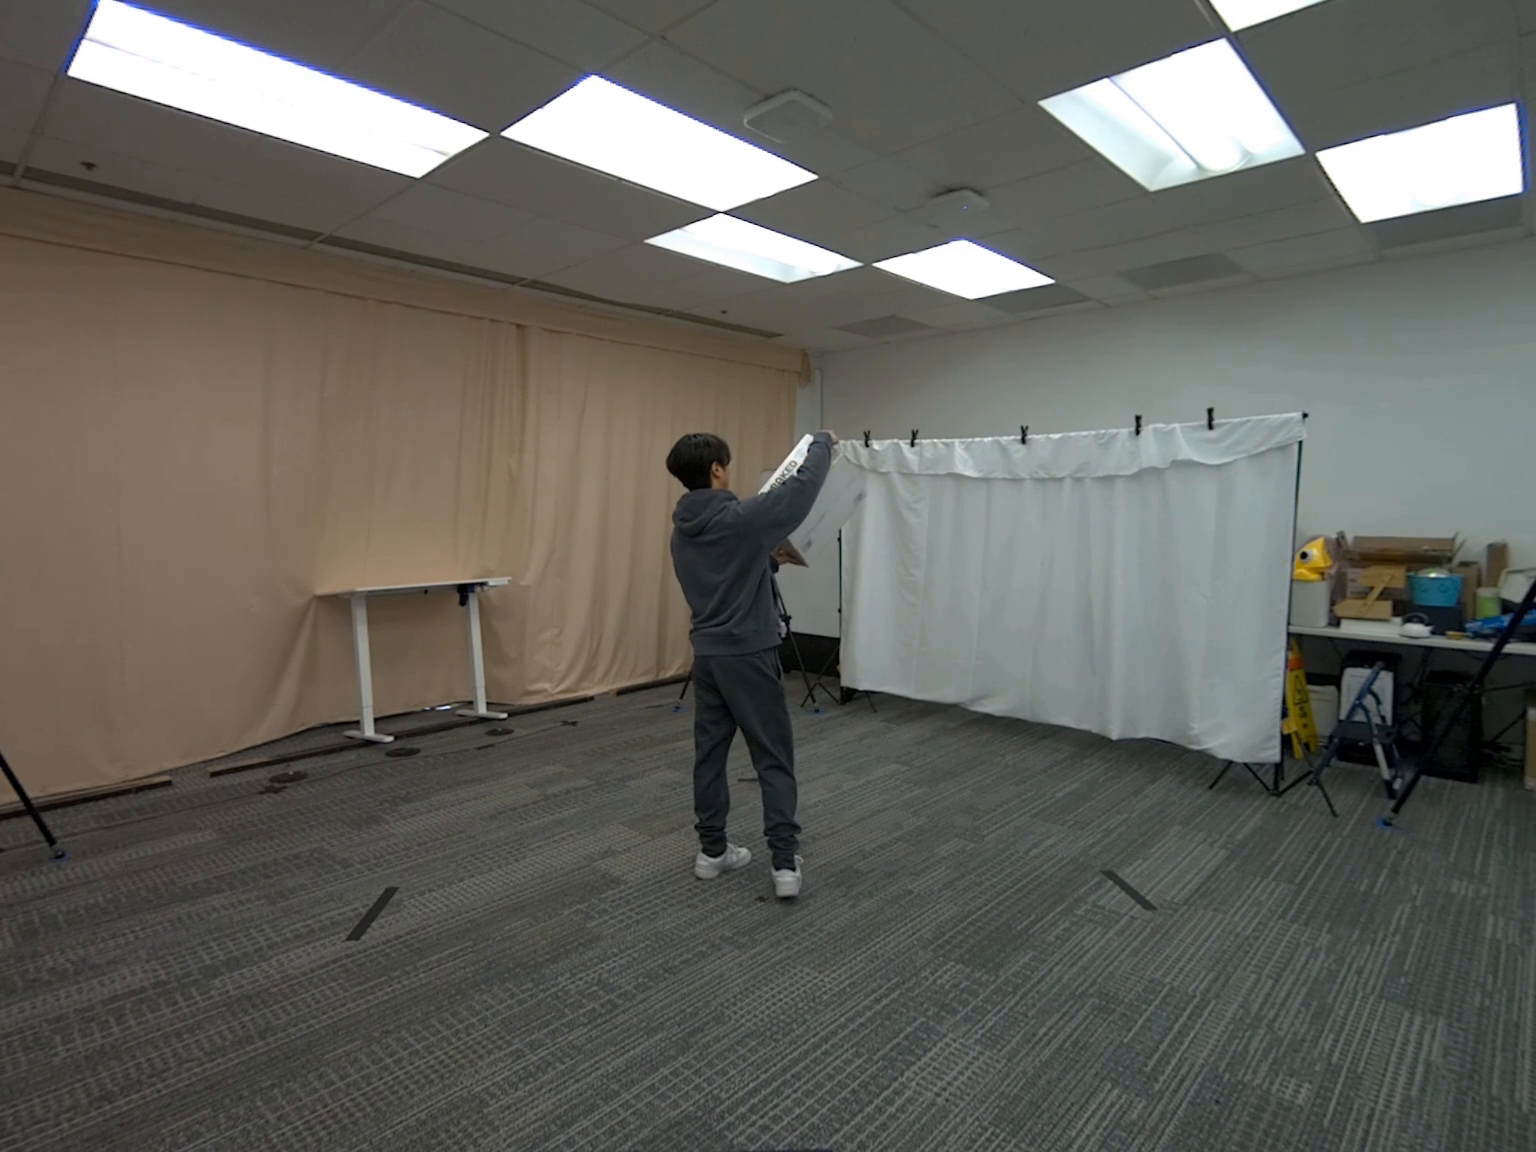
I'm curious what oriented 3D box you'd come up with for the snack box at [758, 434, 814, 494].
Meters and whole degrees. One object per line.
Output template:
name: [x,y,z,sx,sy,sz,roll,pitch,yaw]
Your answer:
snack box: [0.170,-0.306,3.471,0.213,0.404,0.329,34,-9,35]
